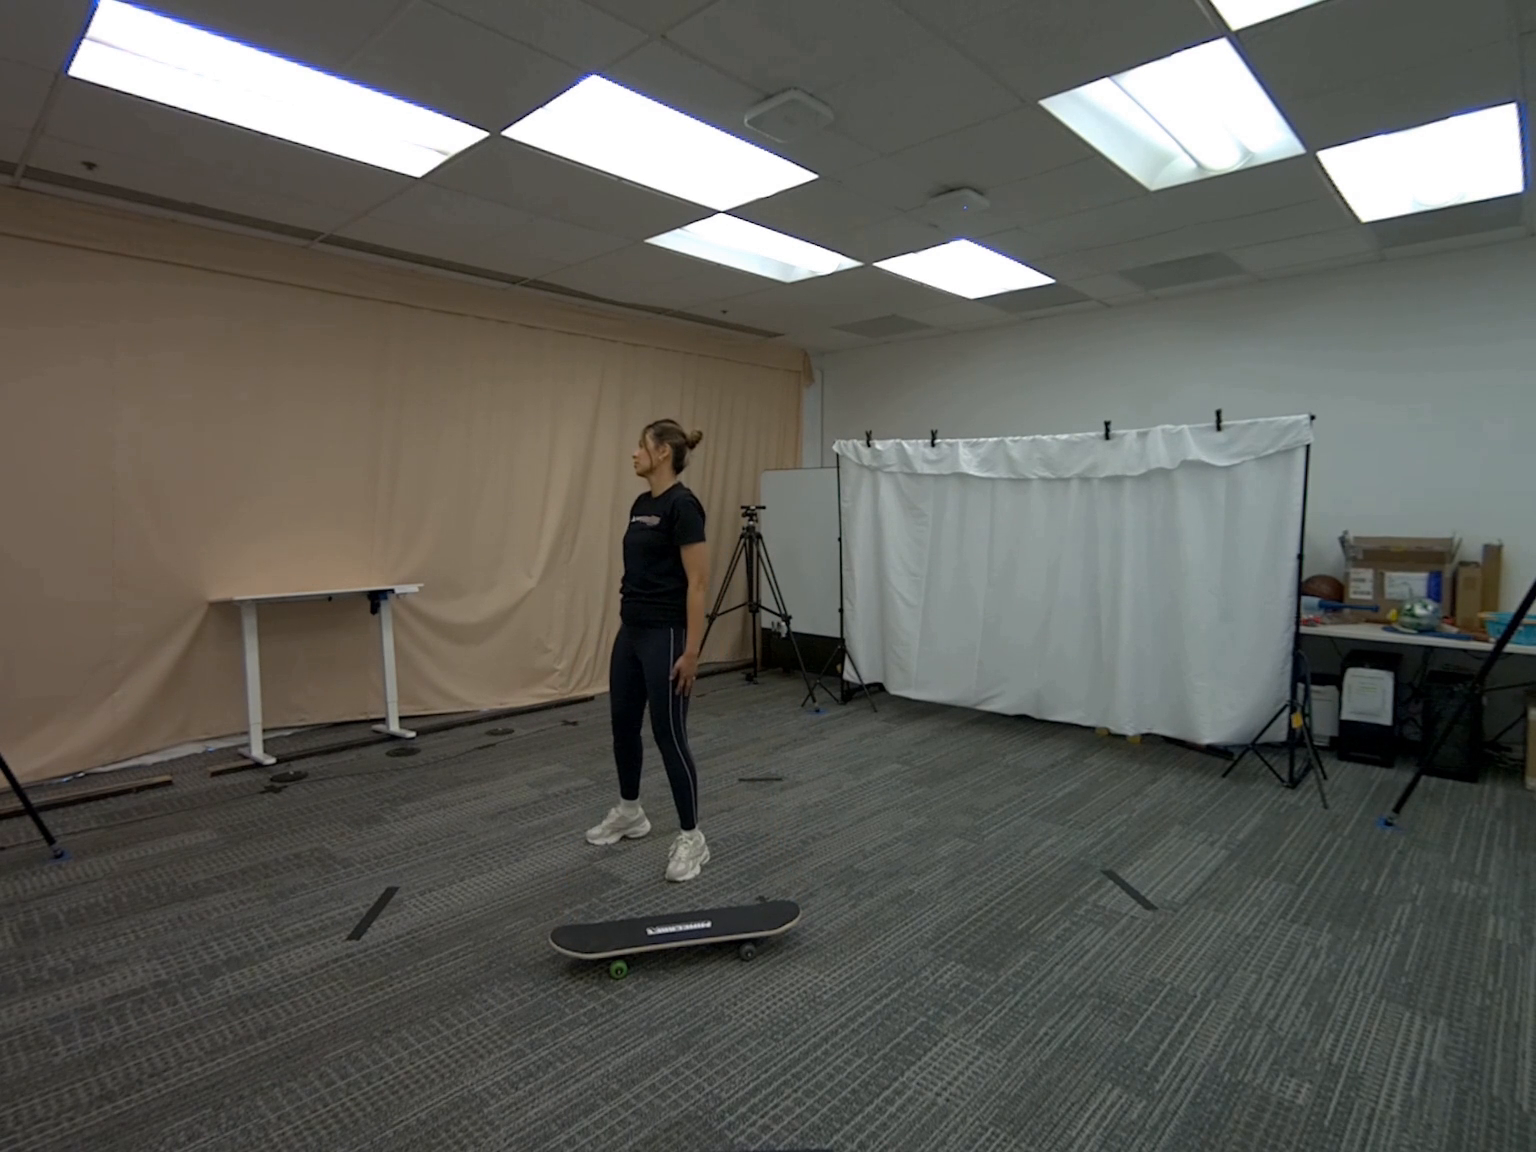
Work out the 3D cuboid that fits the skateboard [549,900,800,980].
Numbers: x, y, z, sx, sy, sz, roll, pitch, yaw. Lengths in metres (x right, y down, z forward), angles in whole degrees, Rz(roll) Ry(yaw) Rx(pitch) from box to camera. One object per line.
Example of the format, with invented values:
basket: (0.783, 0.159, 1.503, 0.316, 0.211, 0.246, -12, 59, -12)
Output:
skateboard: (-0.270, 1.121, 2.602, 0.774, 0.110, 0.196, -1, 3, -13)
